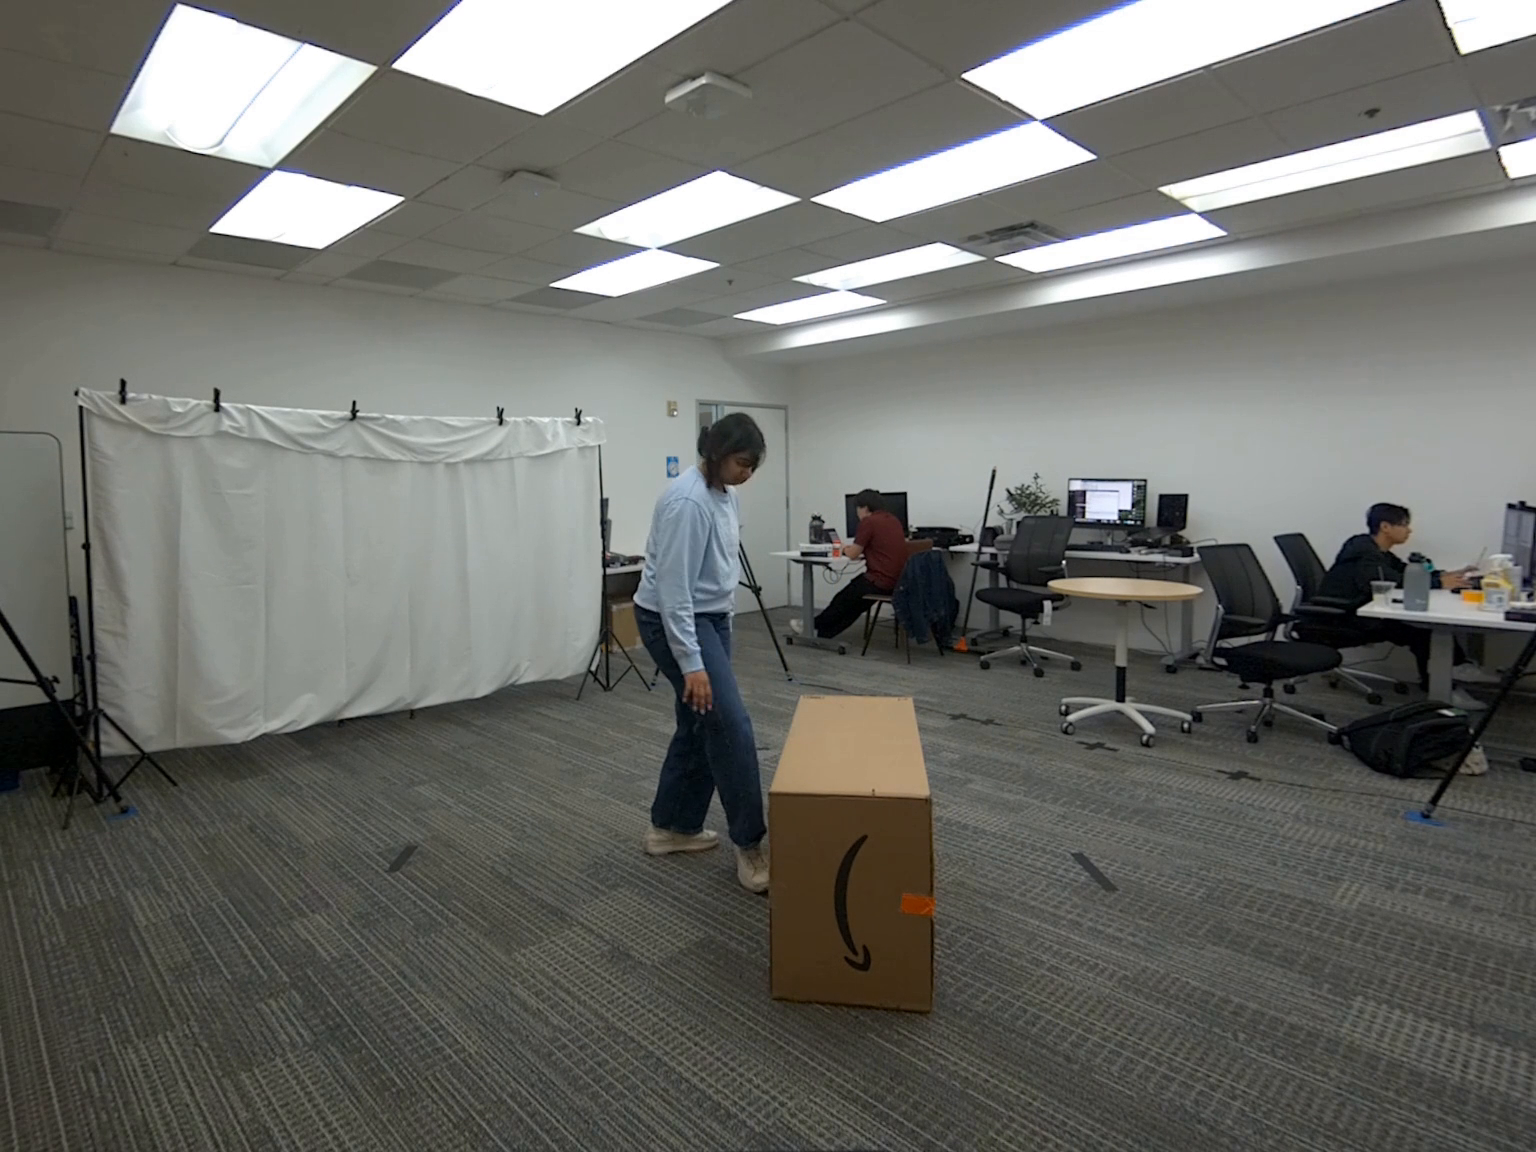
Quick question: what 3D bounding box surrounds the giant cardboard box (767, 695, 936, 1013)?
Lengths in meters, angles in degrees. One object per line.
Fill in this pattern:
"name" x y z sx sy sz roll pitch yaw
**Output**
"giant cardboard box" 0.280 0.791 2.728 0.430 0.575 1.021 0 5 7
